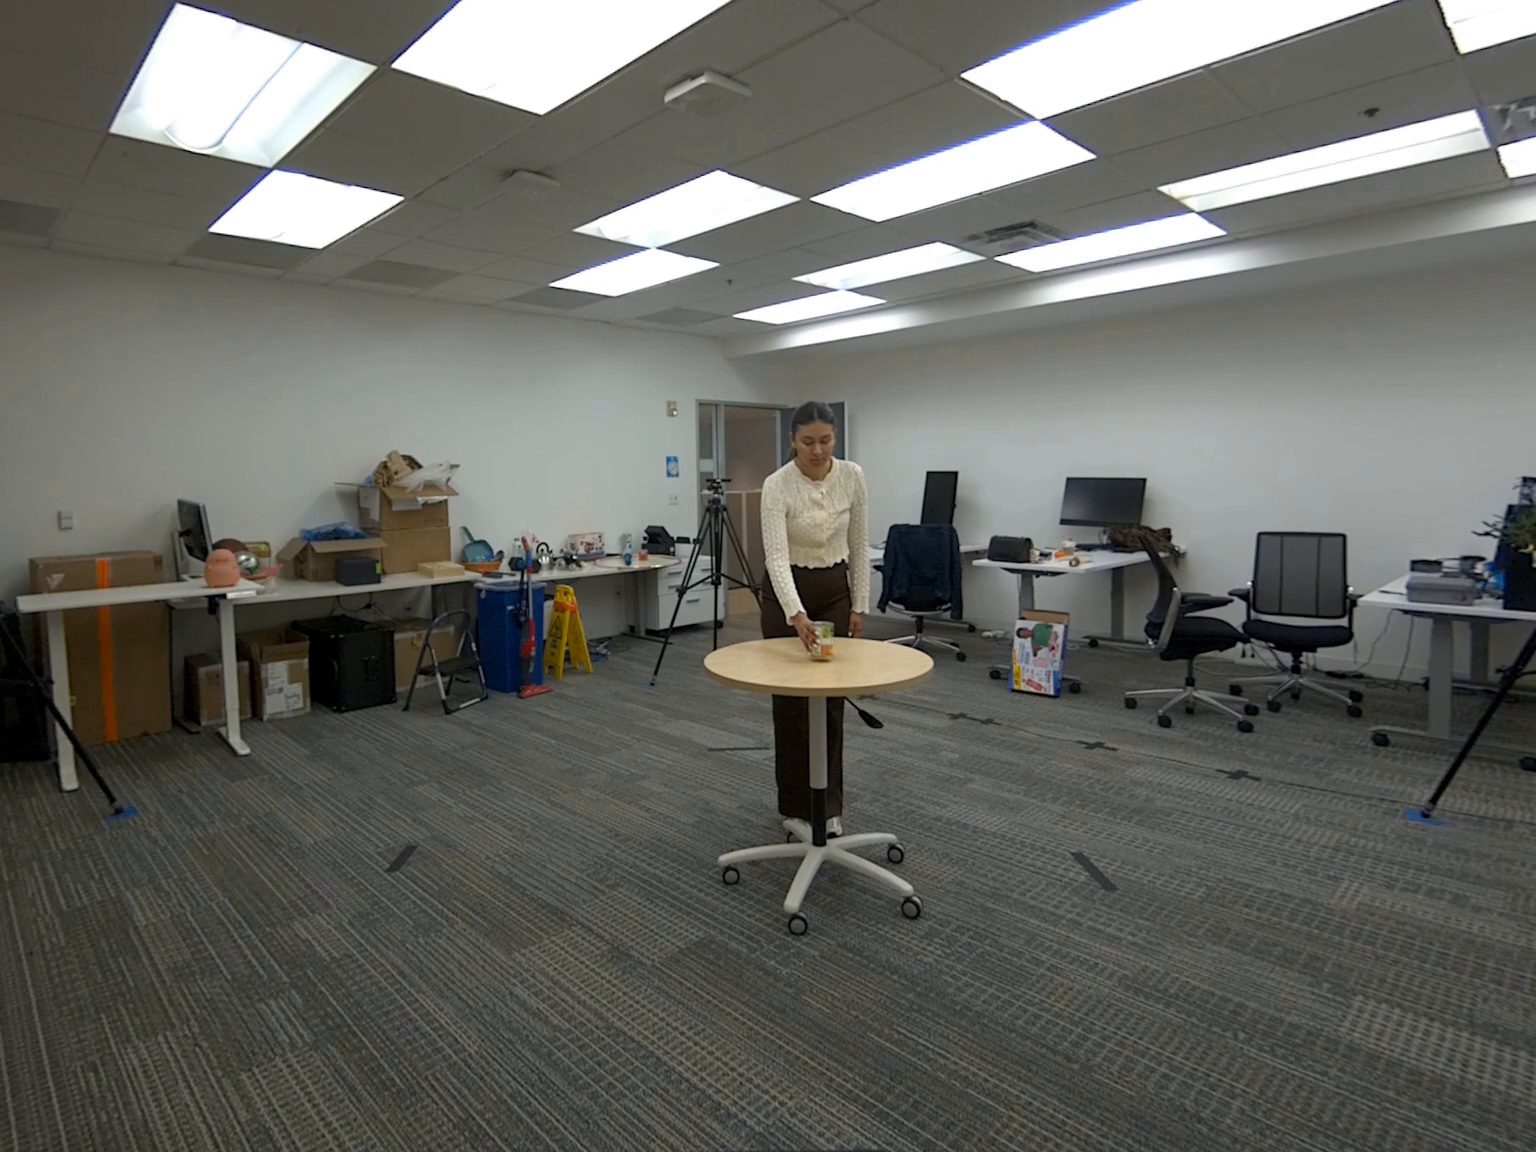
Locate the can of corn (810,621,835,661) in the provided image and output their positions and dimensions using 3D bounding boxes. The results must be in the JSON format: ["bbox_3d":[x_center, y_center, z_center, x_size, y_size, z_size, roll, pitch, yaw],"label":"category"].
[{"bbox_3d":[0.185,0.212,2.860,0.074,0.111,0.074,0,3,-2],"label":"can of corn"}]
